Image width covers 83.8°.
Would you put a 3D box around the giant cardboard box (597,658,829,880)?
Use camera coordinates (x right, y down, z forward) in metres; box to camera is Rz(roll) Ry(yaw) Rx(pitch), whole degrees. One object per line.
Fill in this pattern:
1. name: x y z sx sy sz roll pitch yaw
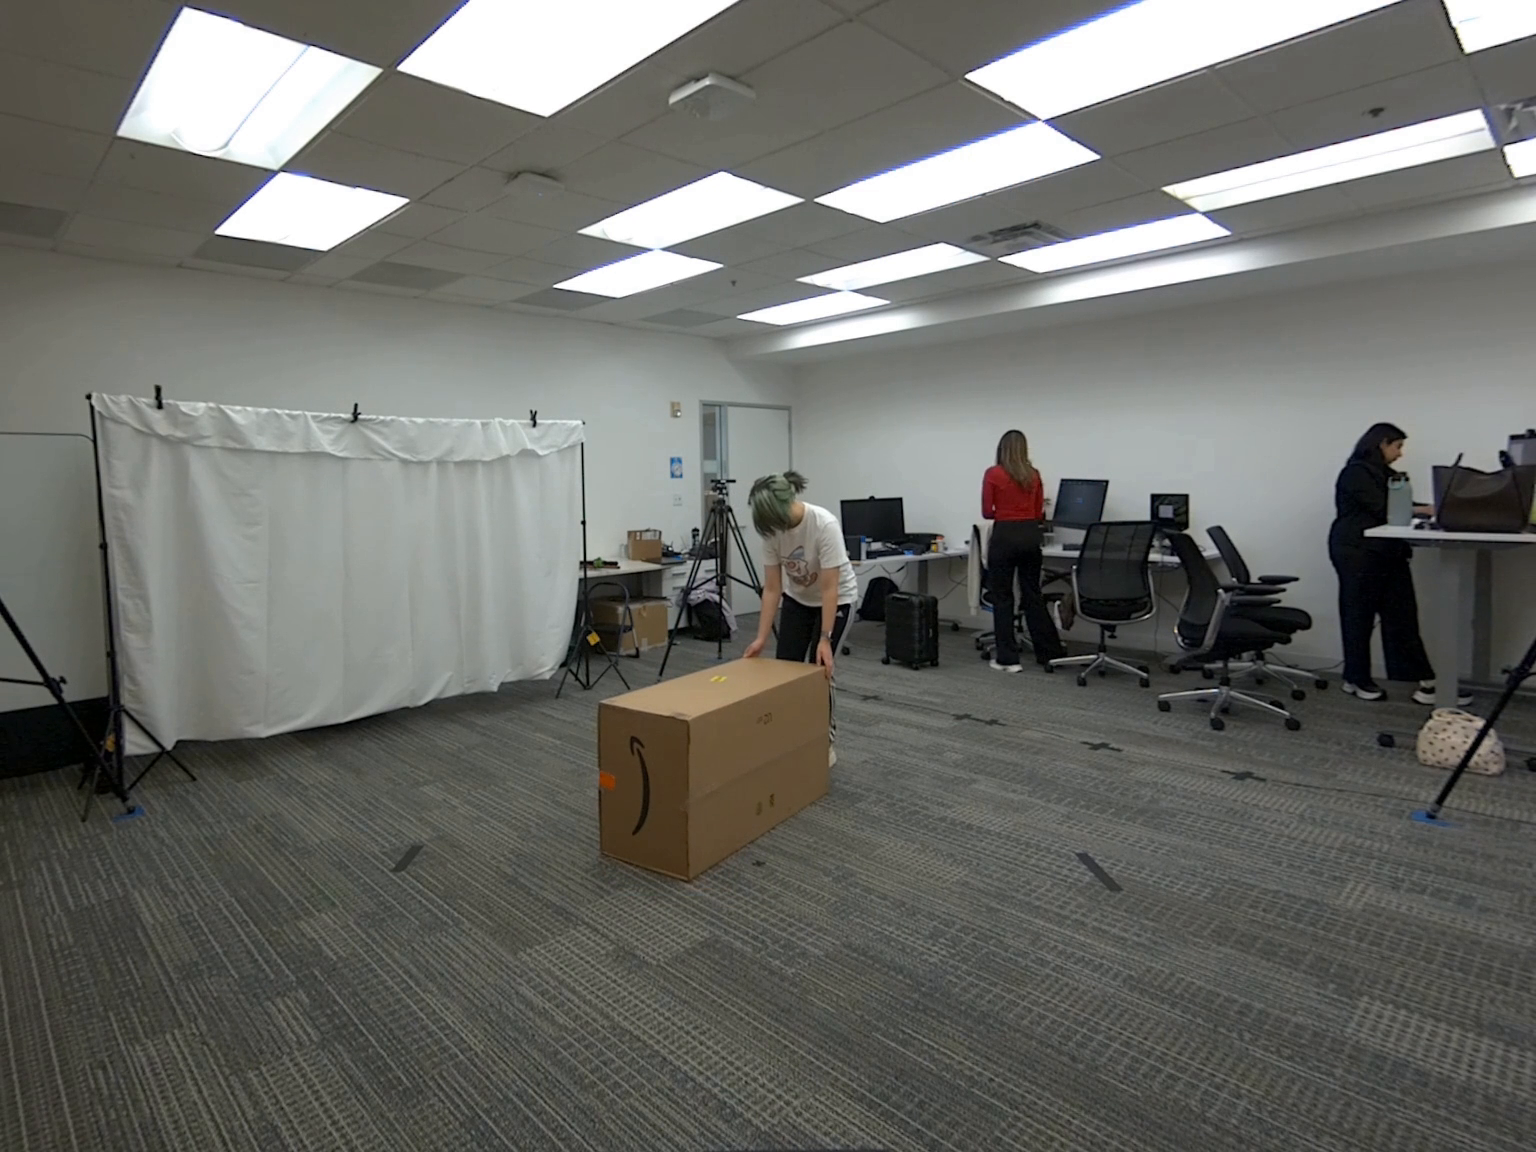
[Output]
1. giant cardboard box: -0.183 0.719 3.488 0.459 0.582 1.003 1 5 33
